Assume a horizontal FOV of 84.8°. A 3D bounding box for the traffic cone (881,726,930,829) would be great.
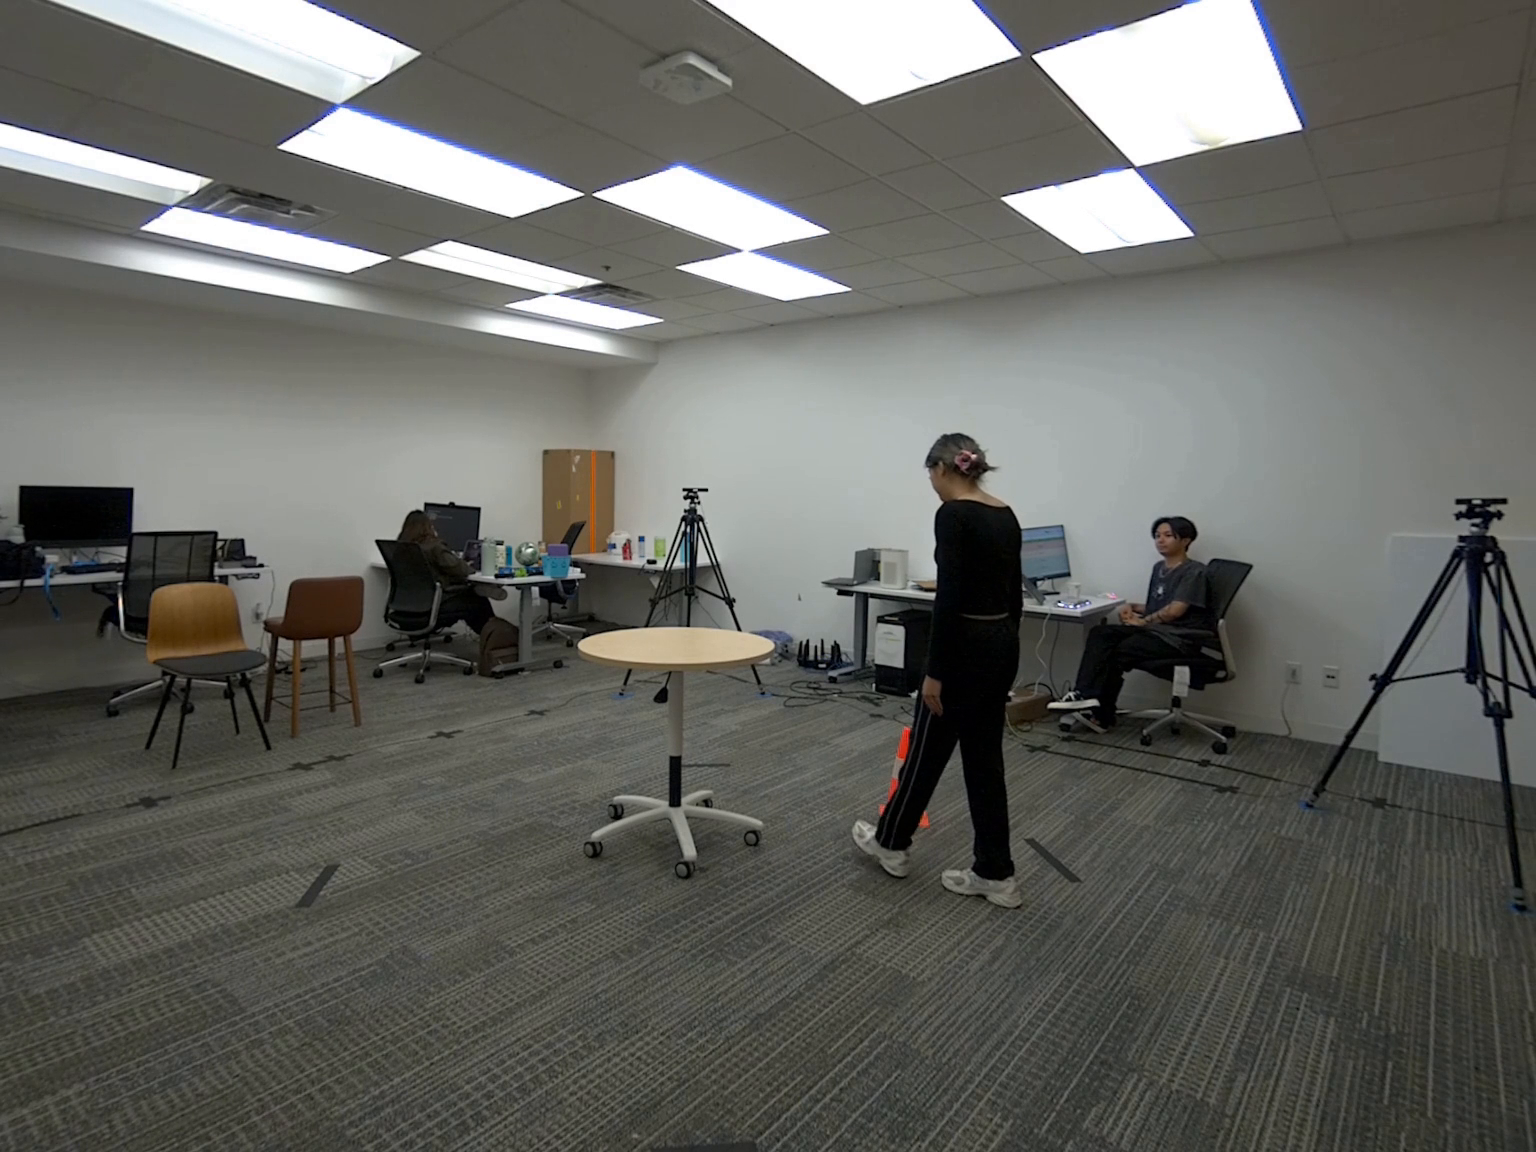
[{"bbox_3d":[0.578,0.840,3.657,0.207,0.382,0.202,1,4,6],"label":"traffic cone"}]
